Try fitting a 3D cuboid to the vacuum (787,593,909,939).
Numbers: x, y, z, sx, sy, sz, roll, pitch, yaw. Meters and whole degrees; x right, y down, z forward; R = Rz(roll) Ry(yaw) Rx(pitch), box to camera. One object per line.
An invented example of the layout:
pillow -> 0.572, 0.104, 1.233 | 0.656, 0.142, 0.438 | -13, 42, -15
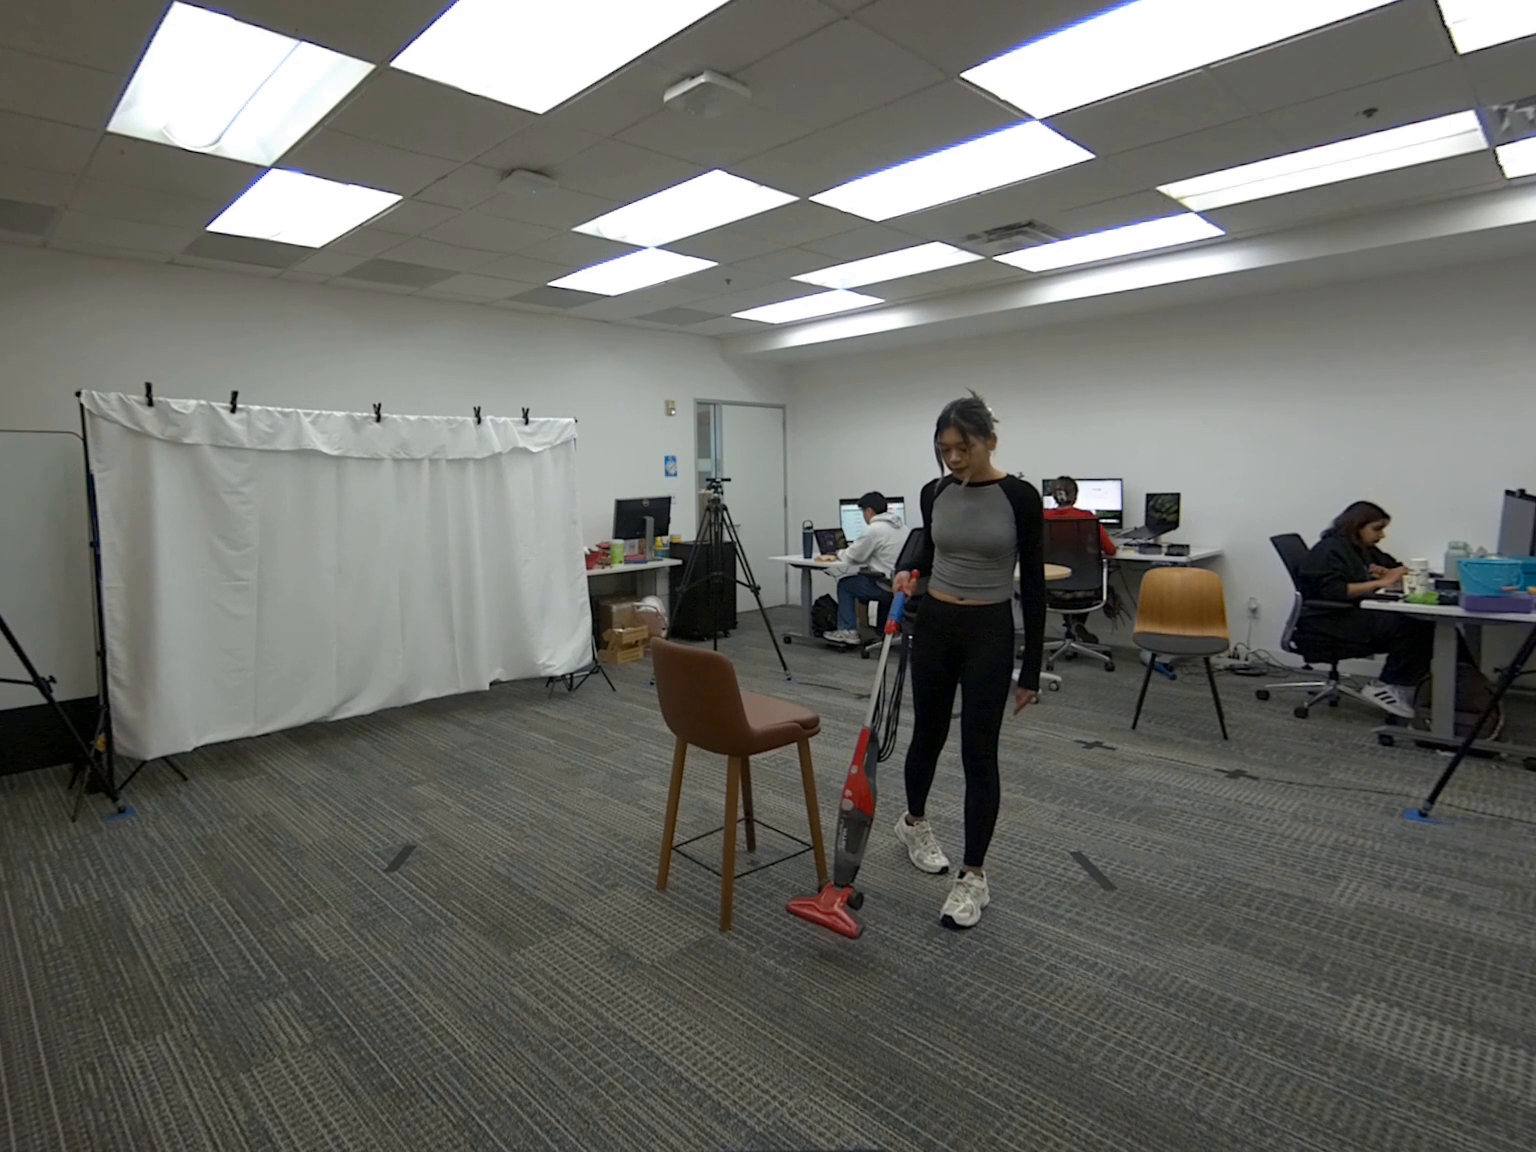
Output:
vacuum -> 0.331, 0.485, 2.614 | 0.260, 1.060, 0.138 | 0, -21, 41
